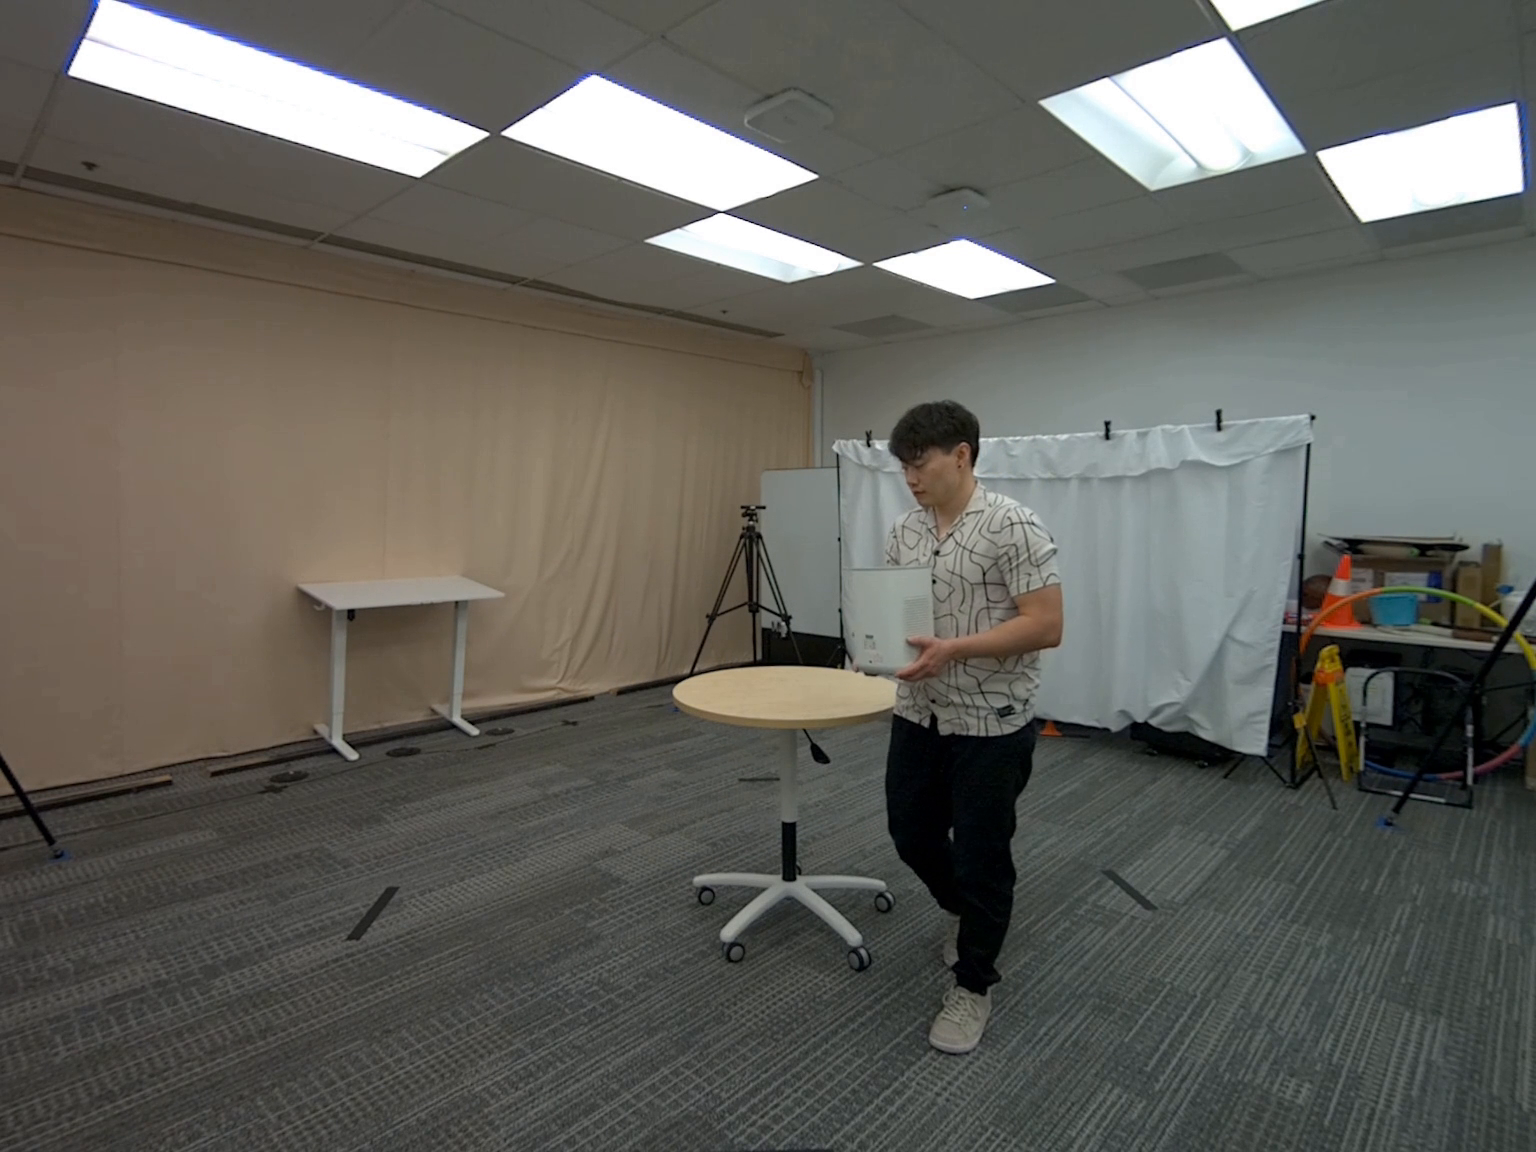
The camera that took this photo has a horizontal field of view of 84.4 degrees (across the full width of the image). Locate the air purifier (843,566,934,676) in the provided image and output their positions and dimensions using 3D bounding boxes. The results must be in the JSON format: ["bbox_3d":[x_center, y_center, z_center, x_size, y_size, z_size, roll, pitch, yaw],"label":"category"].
[{"bbox_3d":[0.324,0.112,2.129,0.166,0.265,0.176,-1,1,-35],"label":"air purifier"}]
